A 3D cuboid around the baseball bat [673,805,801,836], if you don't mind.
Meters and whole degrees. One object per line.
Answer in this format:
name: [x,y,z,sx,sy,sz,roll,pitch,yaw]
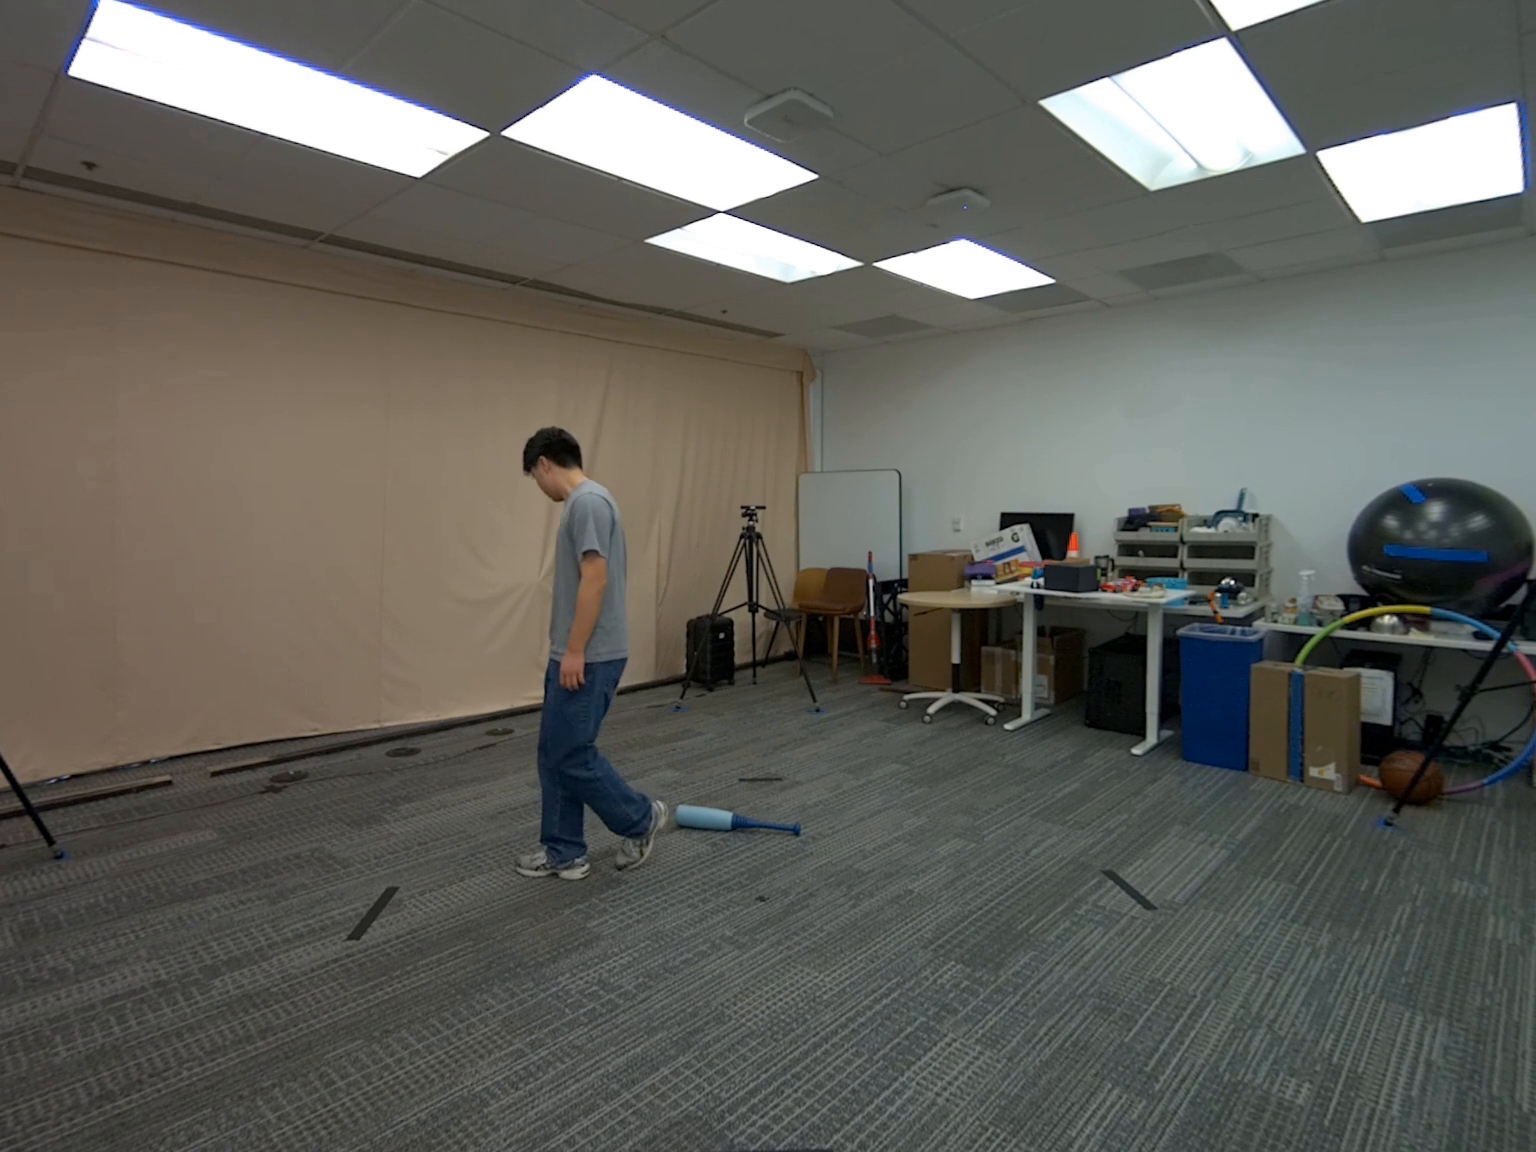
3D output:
baseball bat: [-0.132,1.056,3.610,0.550,0.089,0.088,3,4,11]
